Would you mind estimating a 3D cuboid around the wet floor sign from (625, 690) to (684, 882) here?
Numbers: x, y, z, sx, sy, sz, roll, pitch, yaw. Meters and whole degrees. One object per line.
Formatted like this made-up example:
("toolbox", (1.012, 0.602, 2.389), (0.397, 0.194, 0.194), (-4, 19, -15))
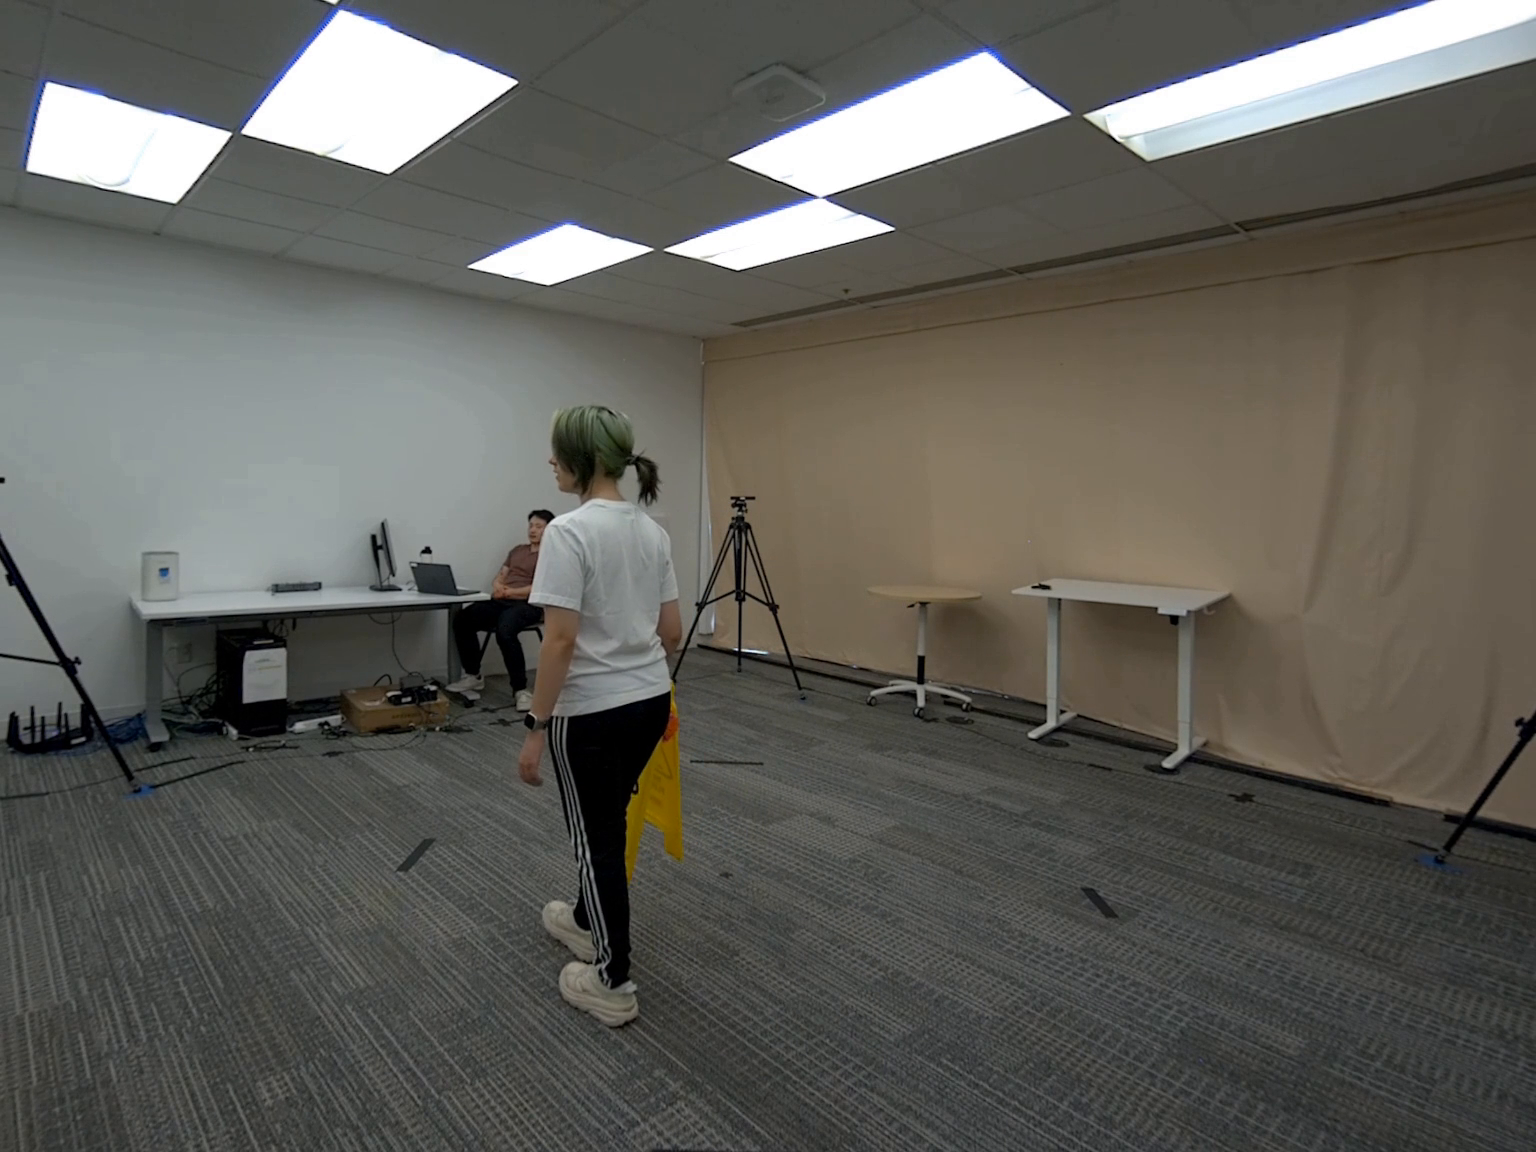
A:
("wet floor sign", (-0.419, 0.609, 2.708), (0.290, 0.641, 0.283), (19, 15, 39))
